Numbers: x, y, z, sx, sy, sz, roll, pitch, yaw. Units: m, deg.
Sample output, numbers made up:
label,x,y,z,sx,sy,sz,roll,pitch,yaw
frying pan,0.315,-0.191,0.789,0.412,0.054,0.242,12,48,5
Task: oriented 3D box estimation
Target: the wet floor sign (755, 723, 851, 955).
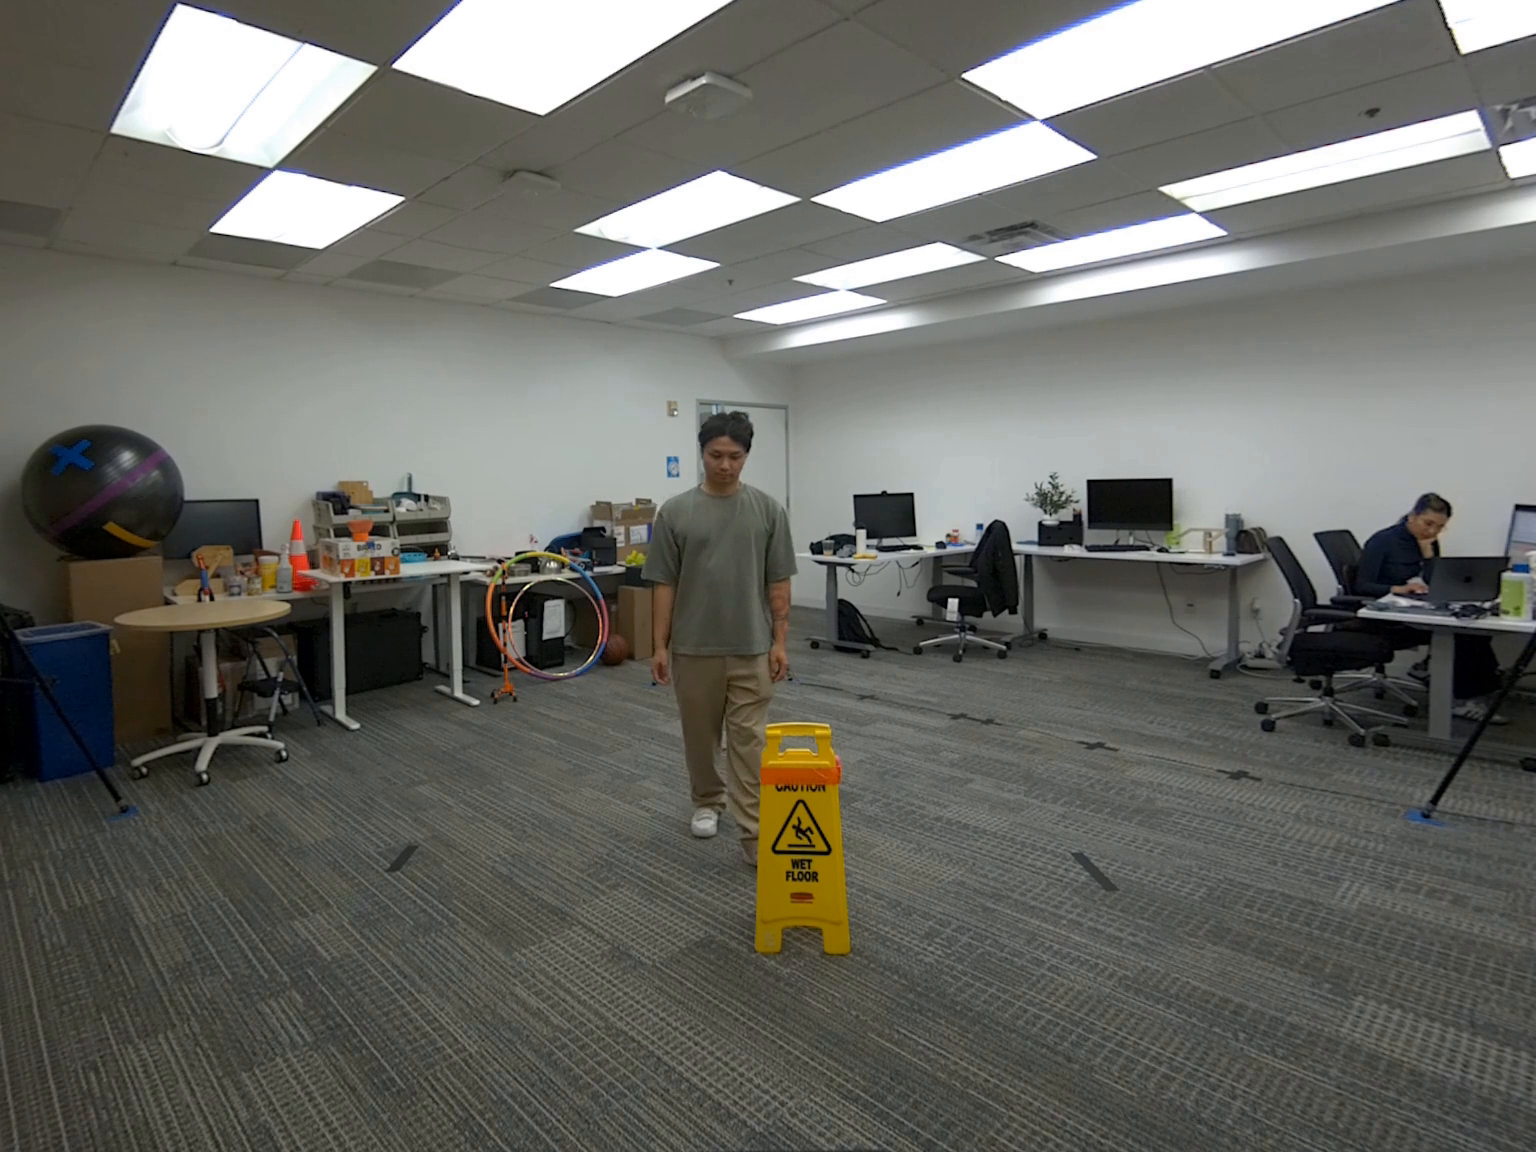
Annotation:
label,x,y,z,sx,sy,sz,roll,pitch,yaw
wet floor sign,0.100,0.772,2.611,0.283,0.644,0.290,0,4,1
